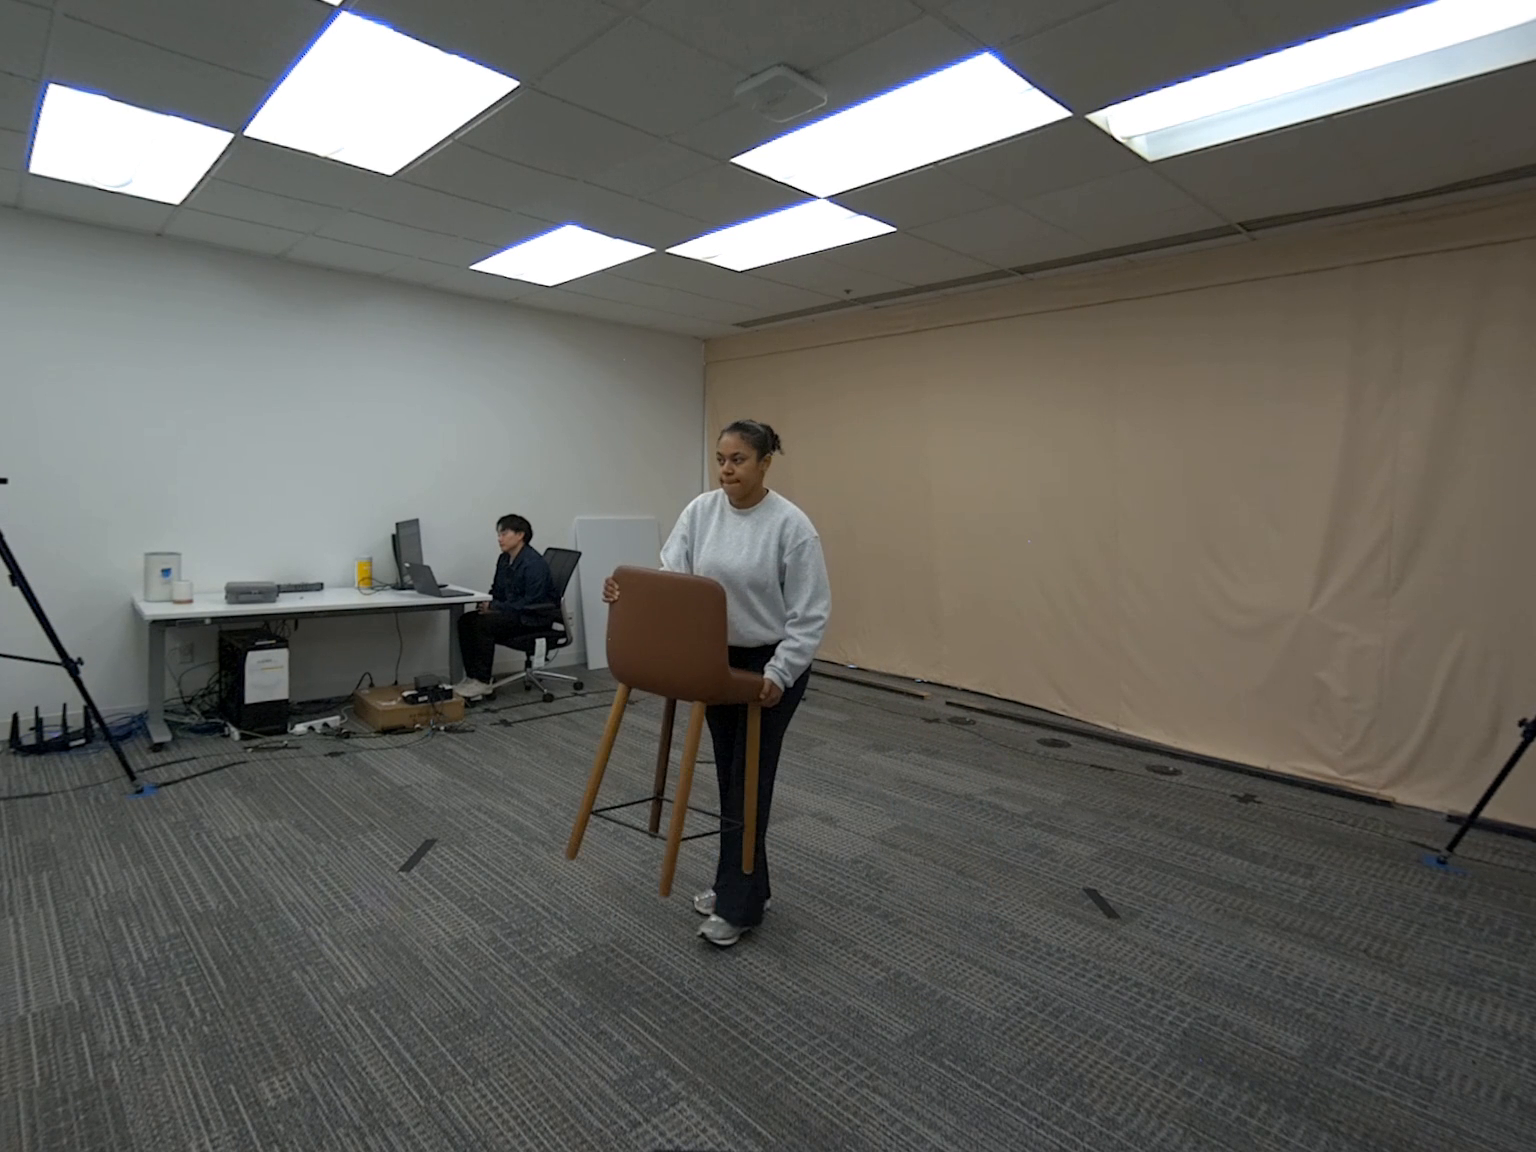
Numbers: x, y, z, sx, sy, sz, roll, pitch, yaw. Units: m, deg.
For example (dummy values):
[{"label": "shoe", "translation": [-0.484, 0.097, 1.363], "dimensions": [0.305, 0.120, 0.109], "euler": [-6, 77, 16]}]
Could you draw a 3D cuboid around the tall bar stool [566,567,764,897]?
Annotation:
[{"label": "tall bar stool", "translation": [-0.270, 0.455, 2.570], "dimensions": [0.467, 0.891, 0.456], "euler": [6, -3, 32]}]
